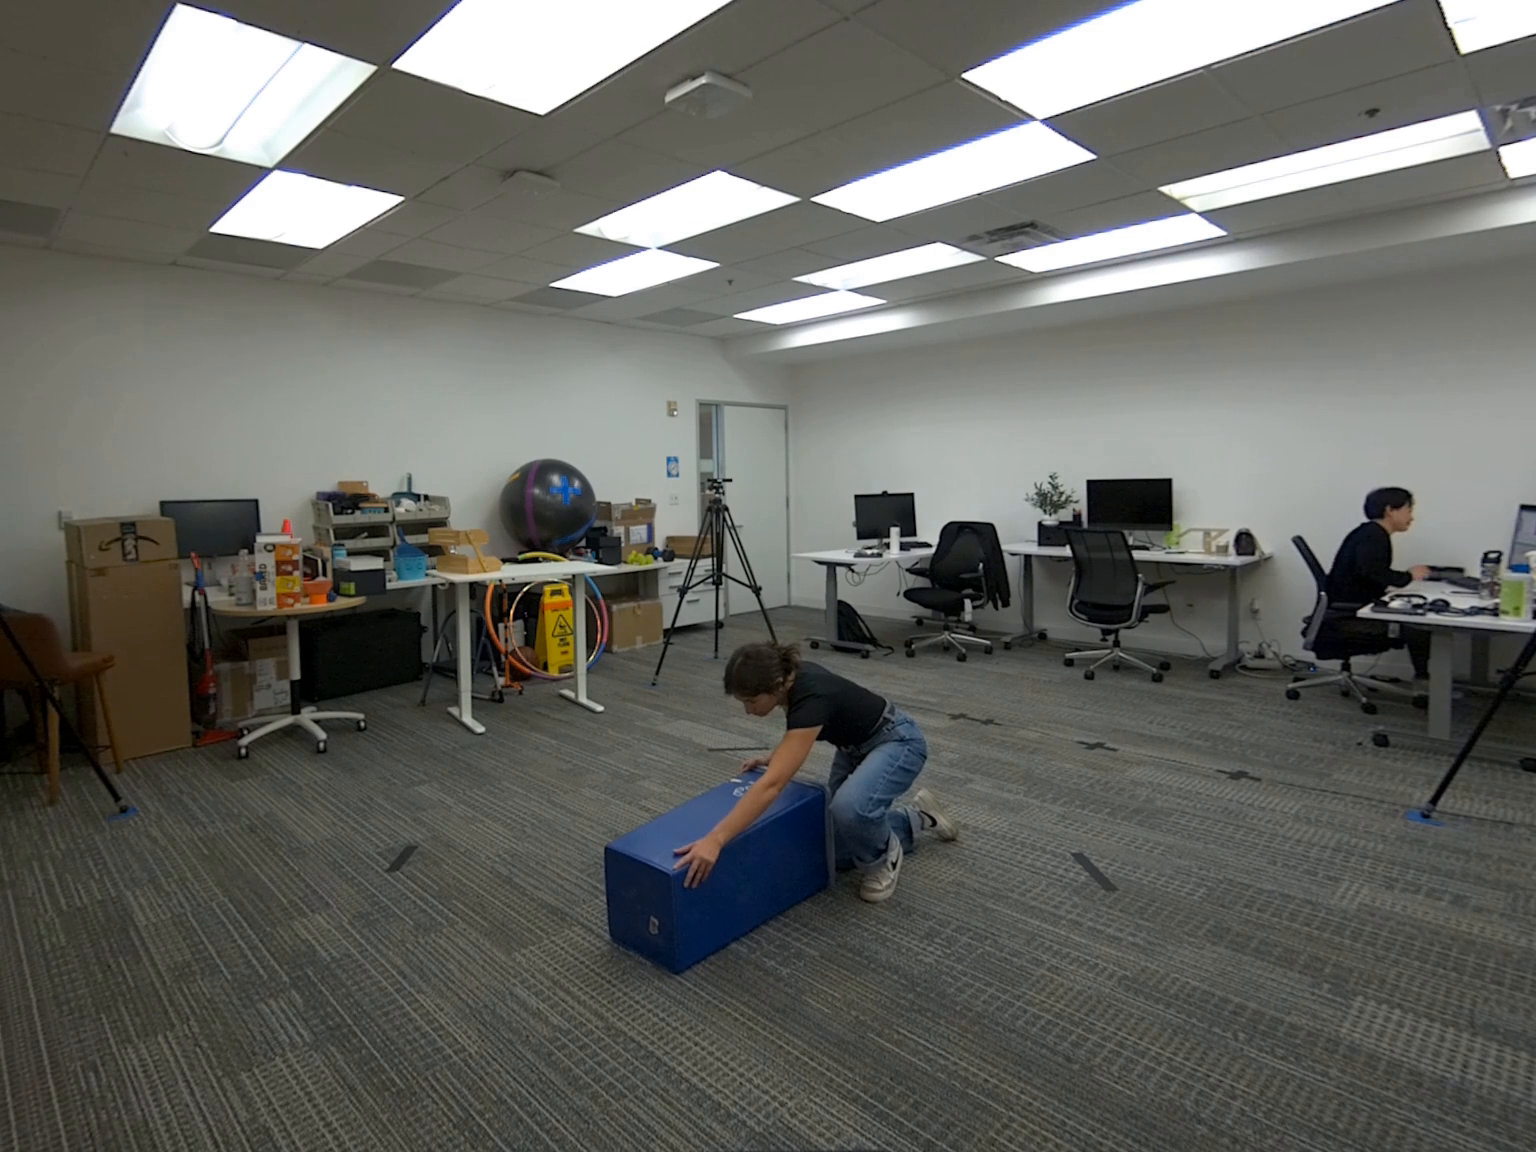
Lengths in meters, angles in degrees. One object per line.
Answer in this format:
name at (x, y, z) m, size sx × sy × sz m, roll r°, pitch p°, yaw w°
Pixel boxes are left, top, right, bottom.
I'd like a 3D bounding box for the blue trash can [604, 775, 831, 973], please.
blue trash can at (-0.144, 0.924, 2.745) m, size 0.385 × 0.375 × 0.697 m, roll 4°, pitch 11°, yaw 41°
